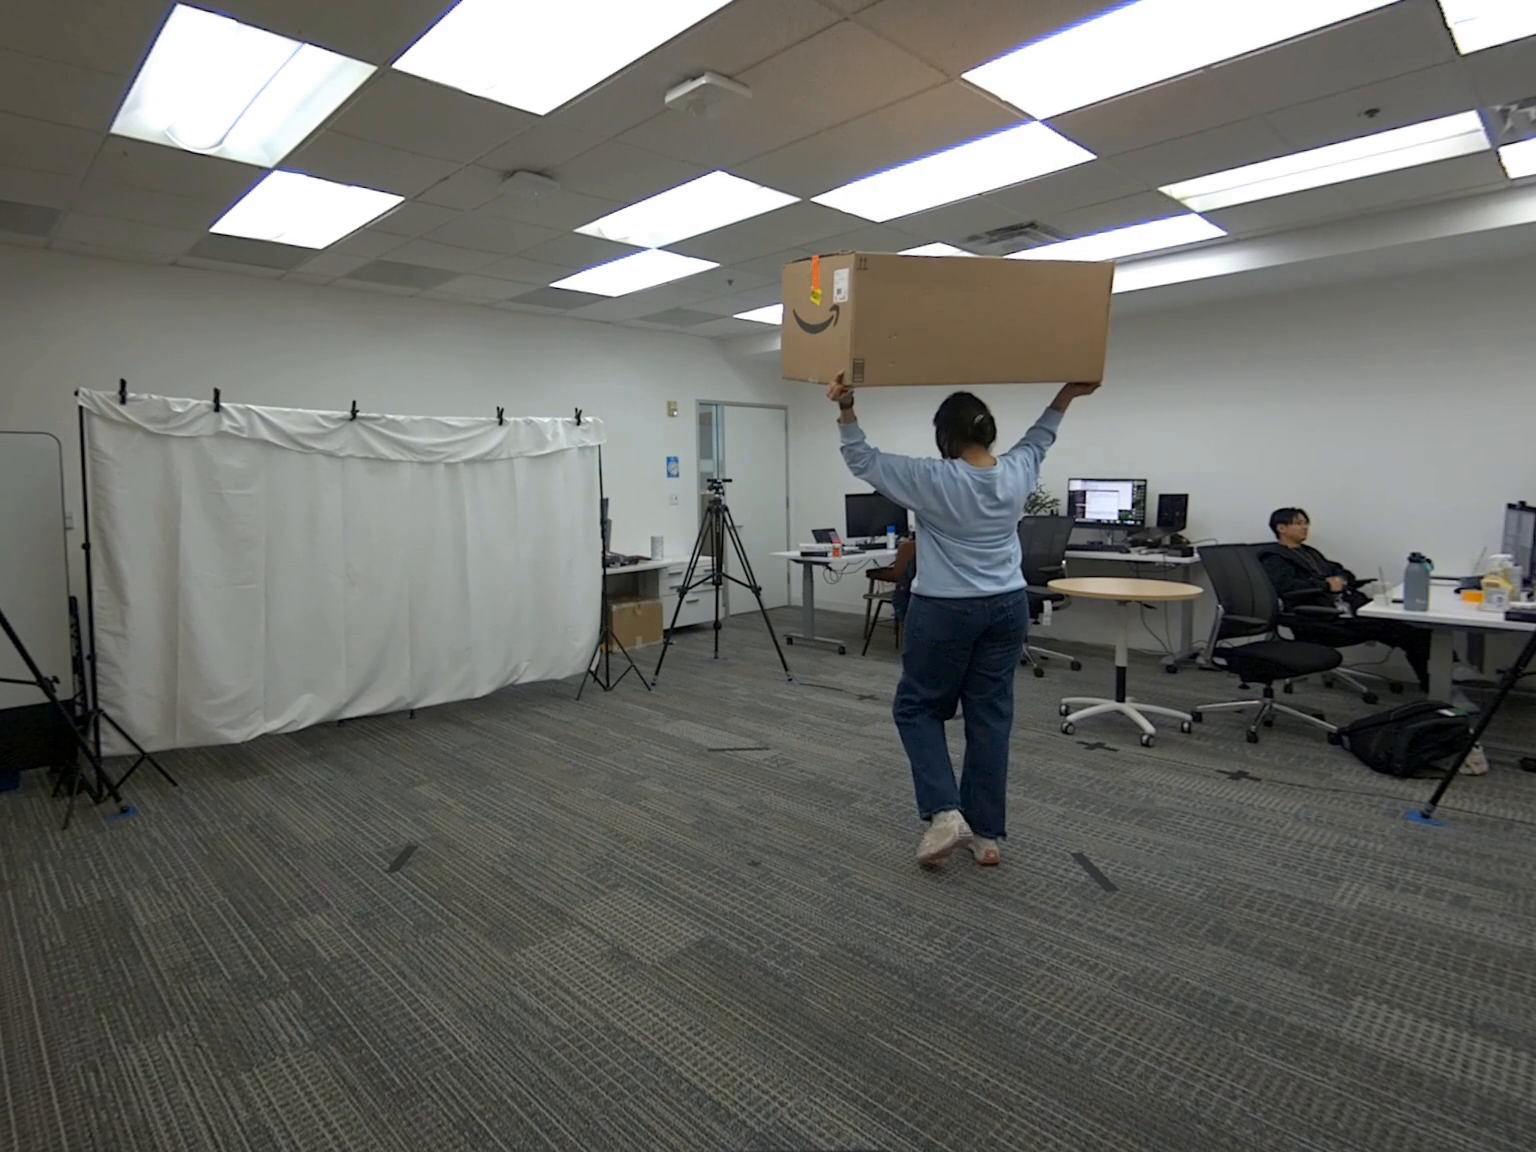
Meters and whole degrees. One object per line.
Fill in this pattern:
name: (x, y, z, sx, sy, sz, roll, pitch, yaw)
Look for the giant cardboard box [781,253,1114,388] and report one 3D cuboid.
giant cardboard box: (0.626, -0.930, 3.133, 1.009, 0.421, 0.594, -5, 16, -19)
